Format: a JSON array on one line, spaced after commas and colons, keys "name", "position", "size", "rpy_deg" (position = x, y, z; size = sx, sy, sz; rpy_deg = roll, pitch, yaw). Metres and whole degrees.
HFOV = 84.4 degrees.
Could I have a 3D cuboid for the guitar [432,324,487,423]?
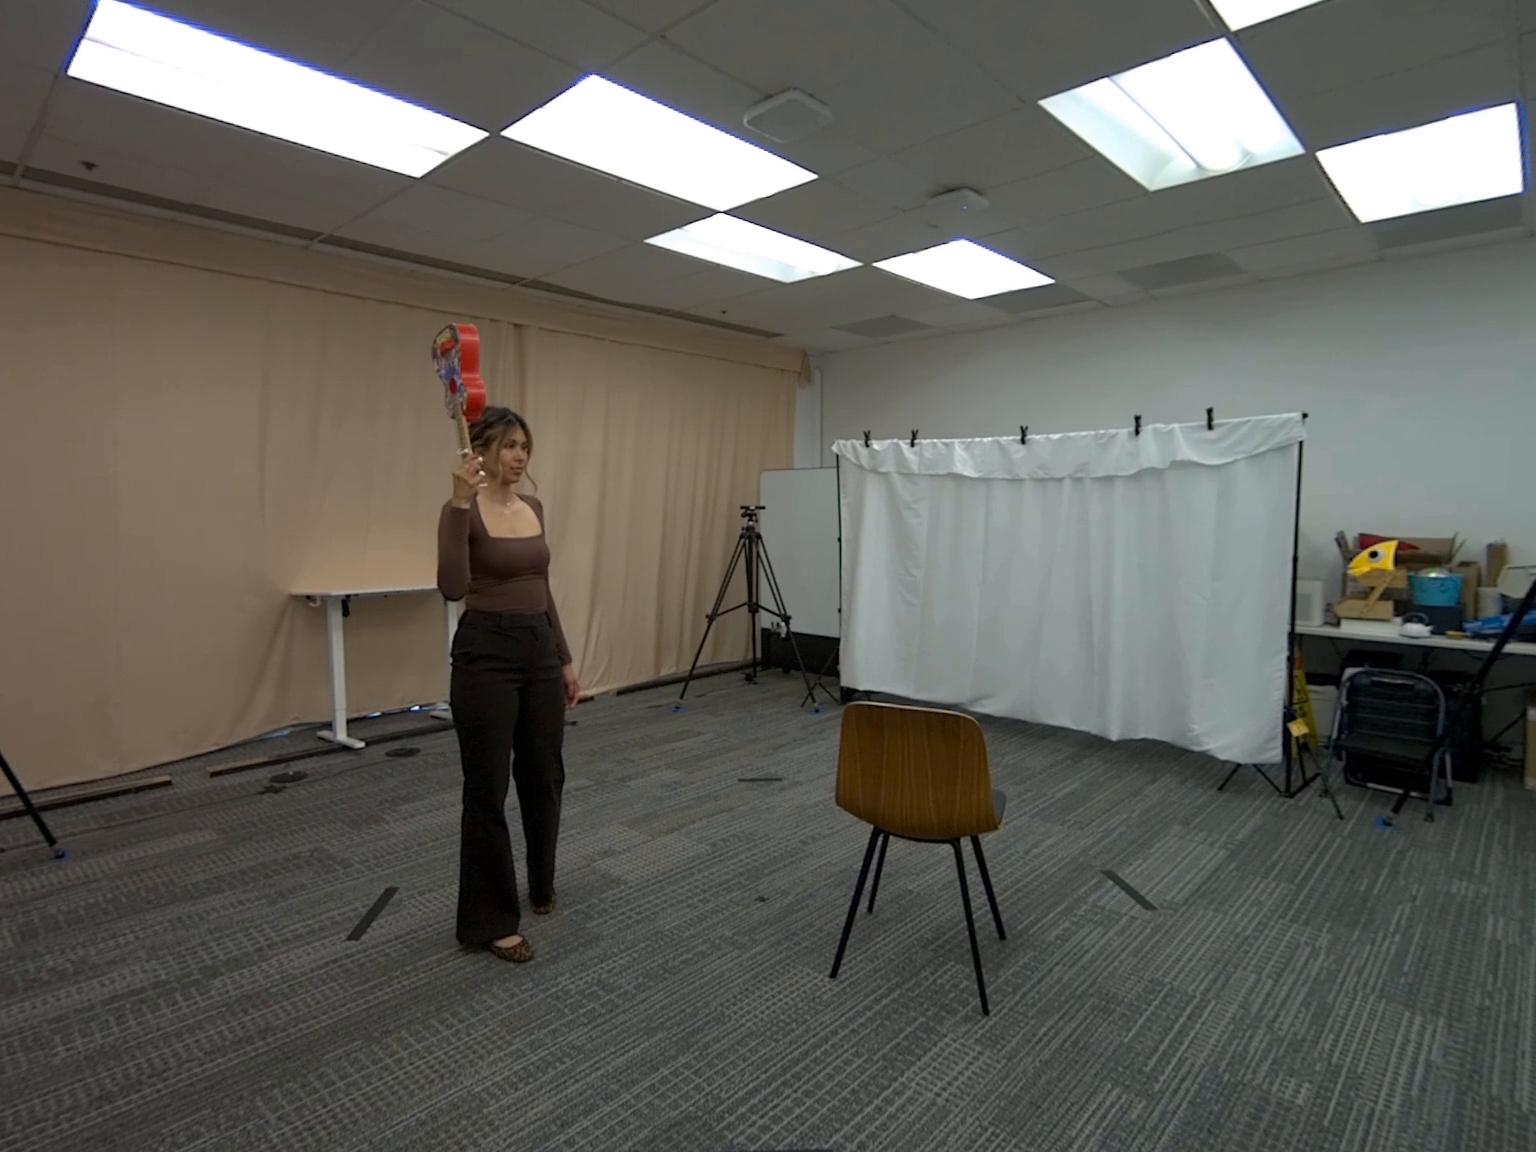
[{"name": "guitar", "position": [-0.889, -0.475, 2.447], "size": [0.069, 0.497, 0.199], "rpy_deg": [-9, 3, -43]}]
